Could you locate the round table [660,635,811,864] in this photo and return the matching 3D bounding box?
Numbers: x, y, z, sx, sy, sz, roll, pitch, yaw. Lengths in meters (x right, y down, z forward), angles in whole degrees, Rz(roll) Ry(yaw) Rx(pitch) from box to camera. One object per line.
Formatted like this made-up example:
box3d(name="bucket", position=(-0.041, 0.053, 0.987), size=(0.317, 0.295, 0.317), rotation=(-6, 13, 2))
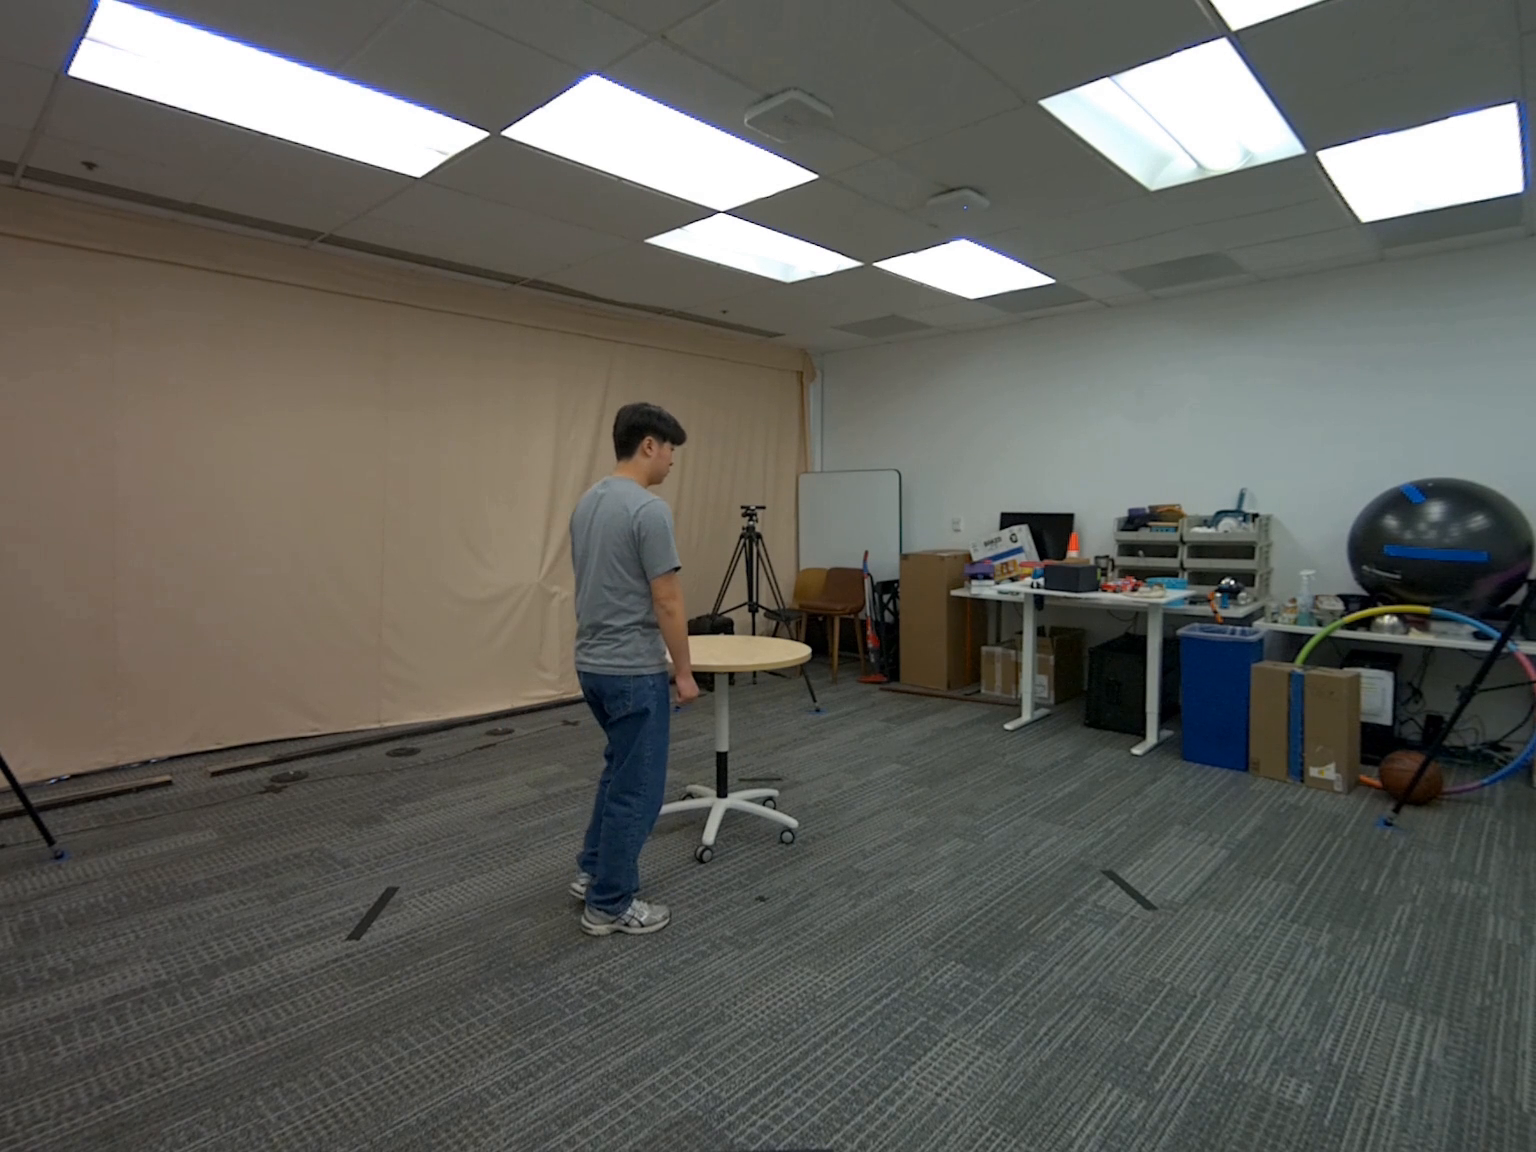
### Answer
box3d(name="round table", position=(-0.193, 0.704, 3.613), size=(0.763, 0.792, 0.766), rotation=(0, 3, -2))
